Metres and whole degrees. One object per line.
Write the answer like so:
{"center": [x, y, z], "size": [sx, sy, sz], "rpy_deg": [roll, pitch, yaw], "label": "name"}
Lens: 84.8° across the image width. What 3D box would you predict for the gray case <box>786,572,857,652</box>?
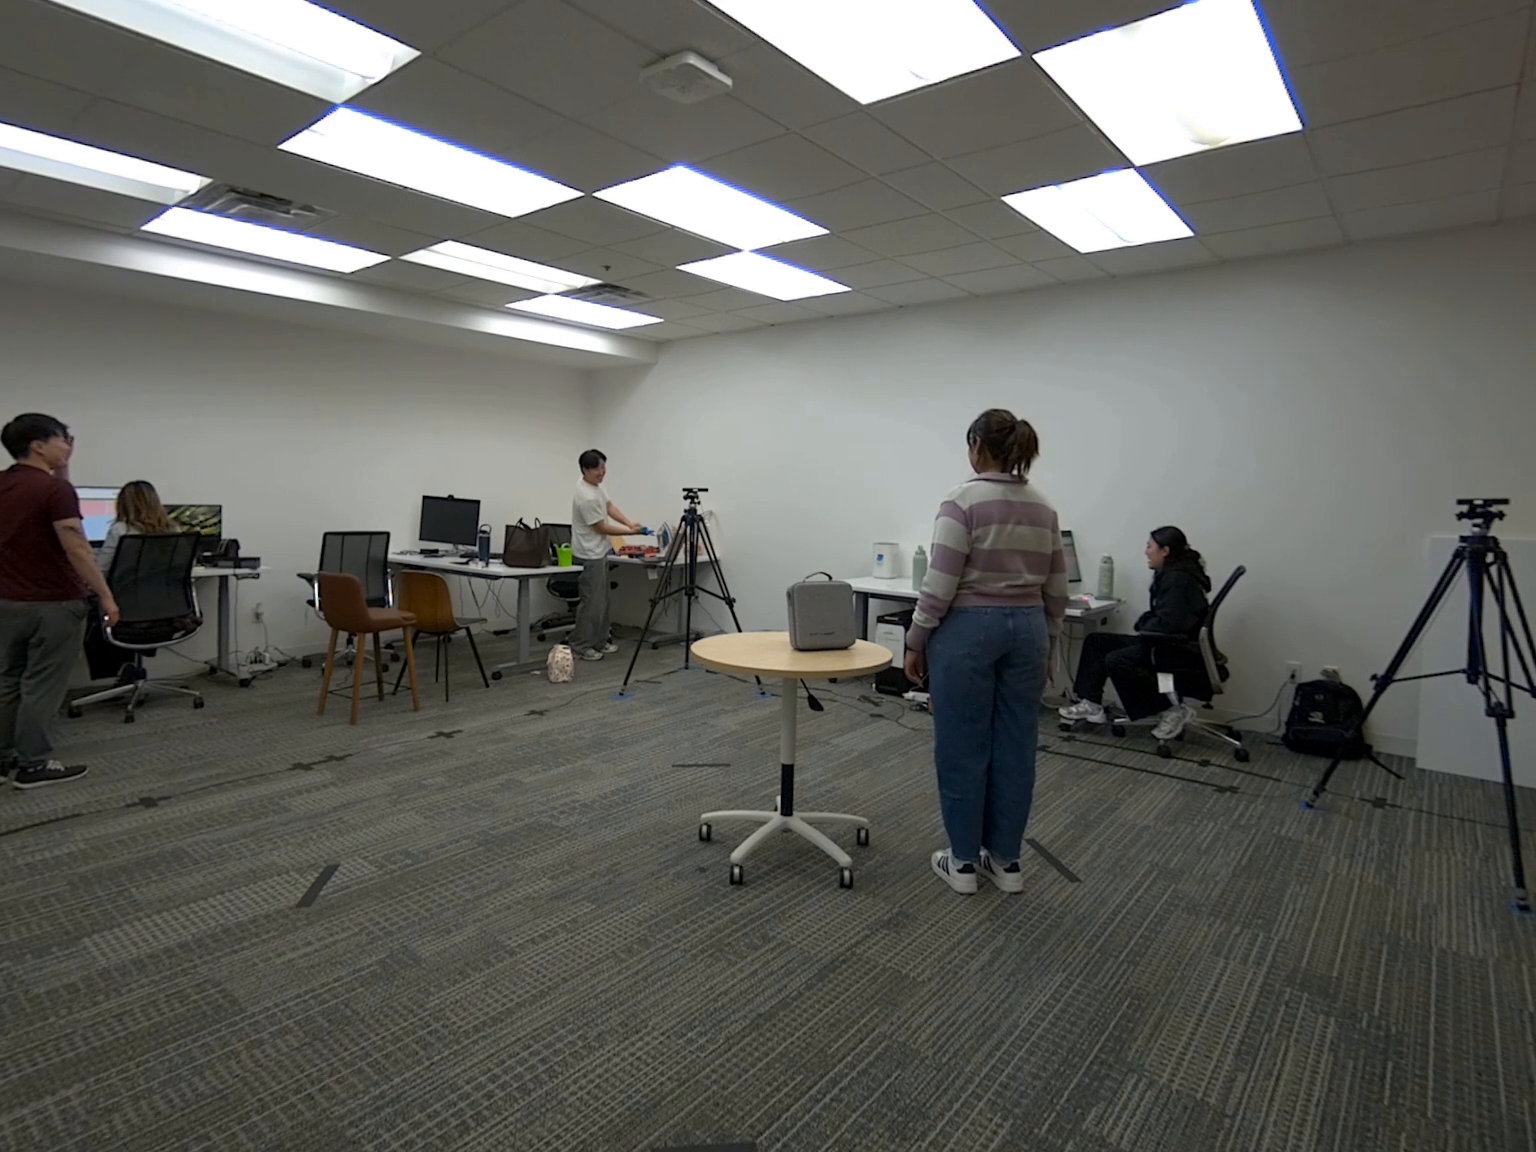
{"center": [0.199, 0.148, 3.284], "size": [0.252, 0.262, 0.106], "rpy_deg": [1, -7, -19], "label": "gray case"}
